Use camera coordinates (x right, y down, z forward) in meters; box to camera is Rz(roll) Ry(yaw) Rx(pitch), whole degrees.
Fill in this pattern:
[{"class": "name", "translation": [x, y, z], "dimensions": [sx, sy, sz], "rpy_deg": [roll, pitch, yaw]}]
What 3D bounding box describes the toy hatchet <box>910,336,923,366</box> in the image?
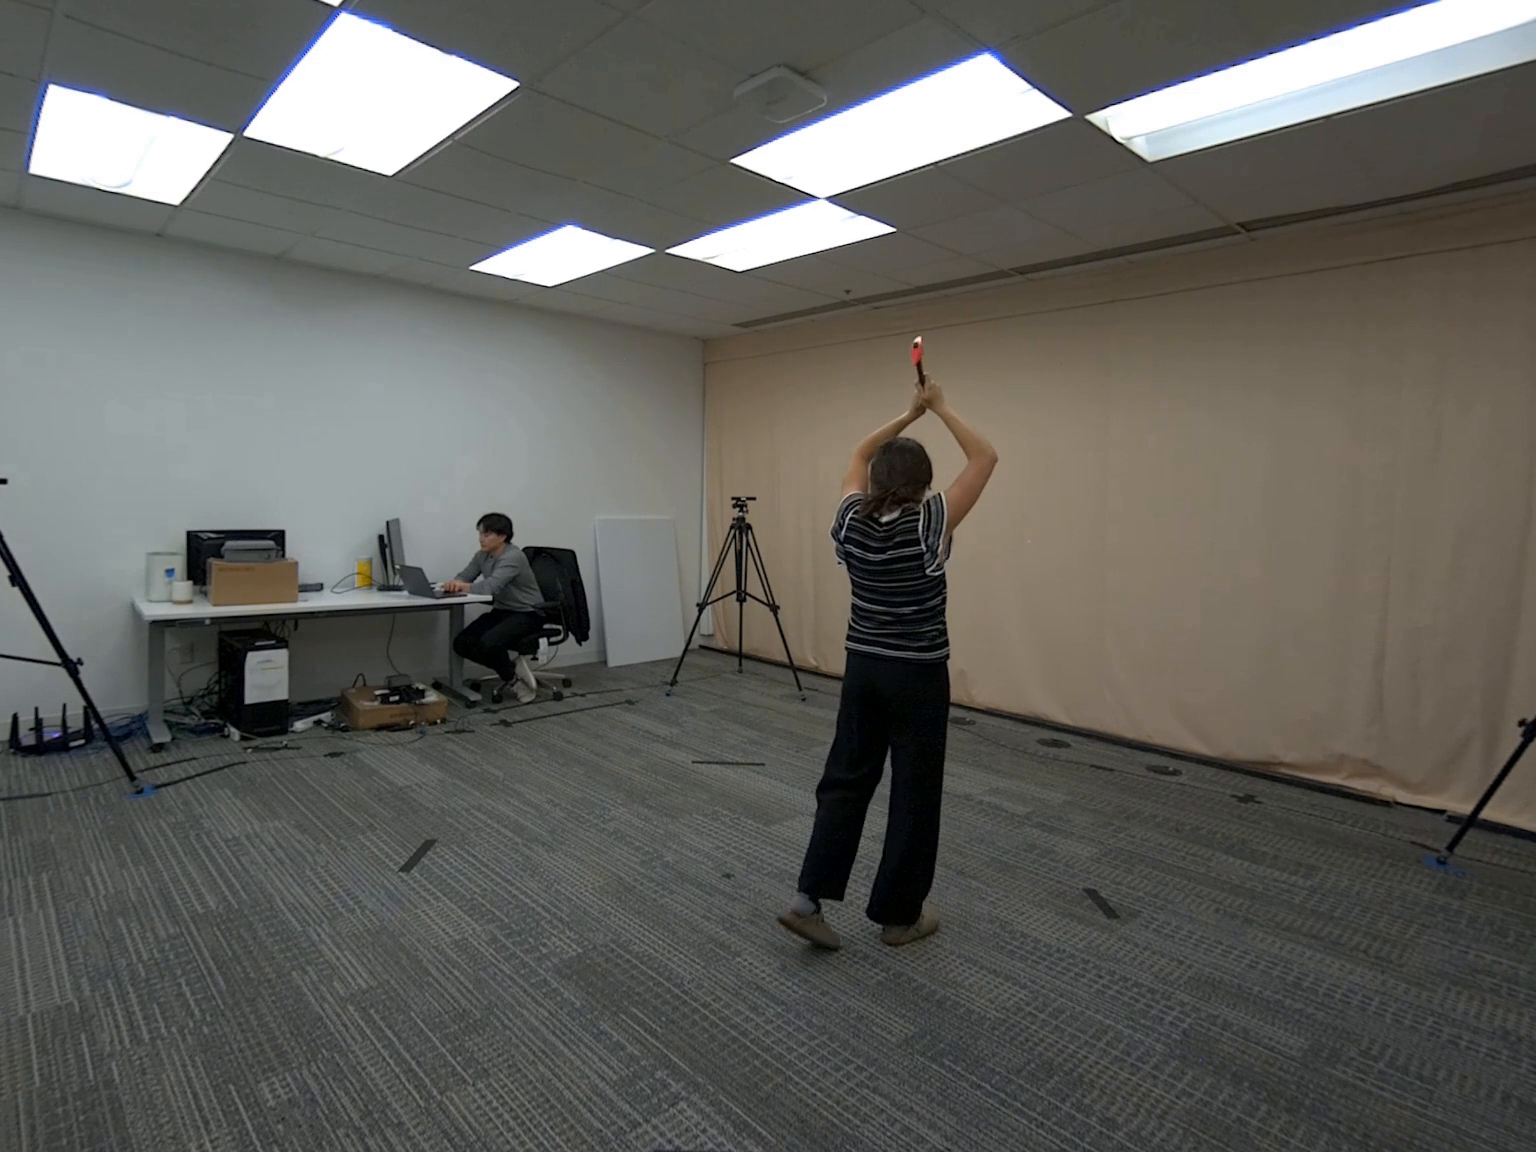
[{"class": "toy hatchet", "translation": [0.482, -0.655, 2.668], "dimensions": [0.030, 0.132, 0.263], "rpy_deg": [0, -19, 18]}]
